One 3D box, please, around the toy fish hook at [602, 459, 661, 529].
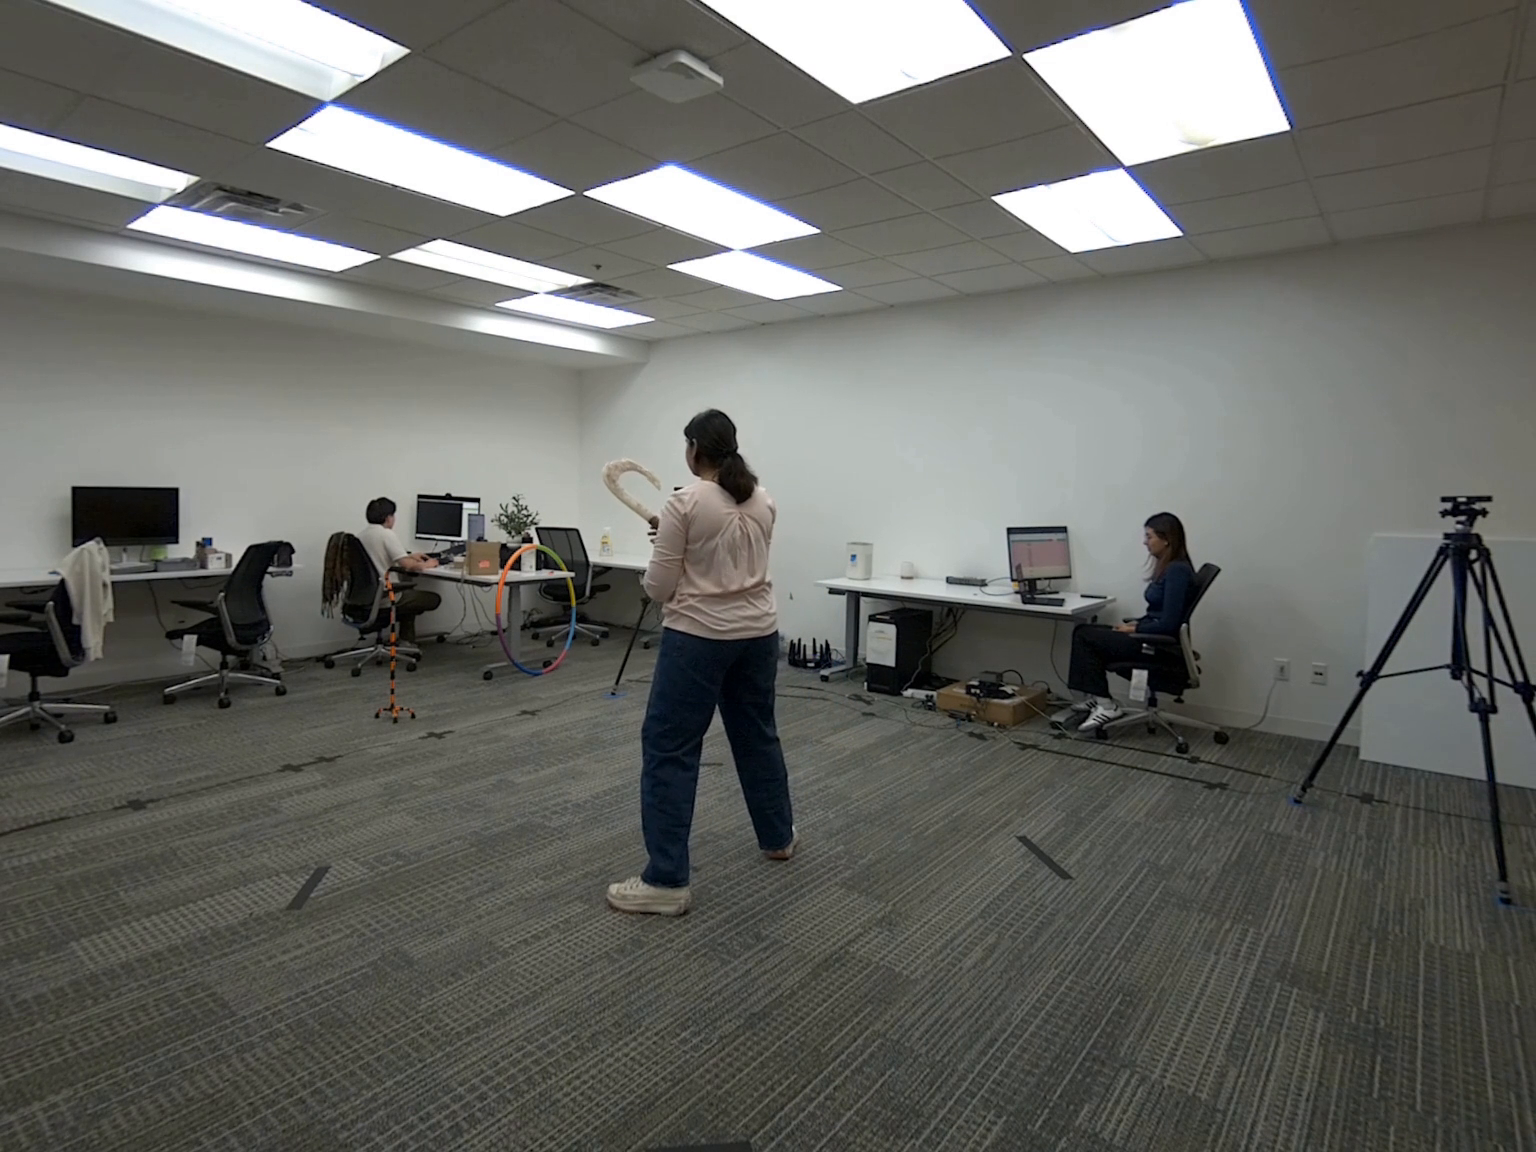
[{"bbox_3d":[-0.455,-0.274,3.283,0.221,0.520,0.048,-24,-24,-35],"label":"toy fish hook"}]
